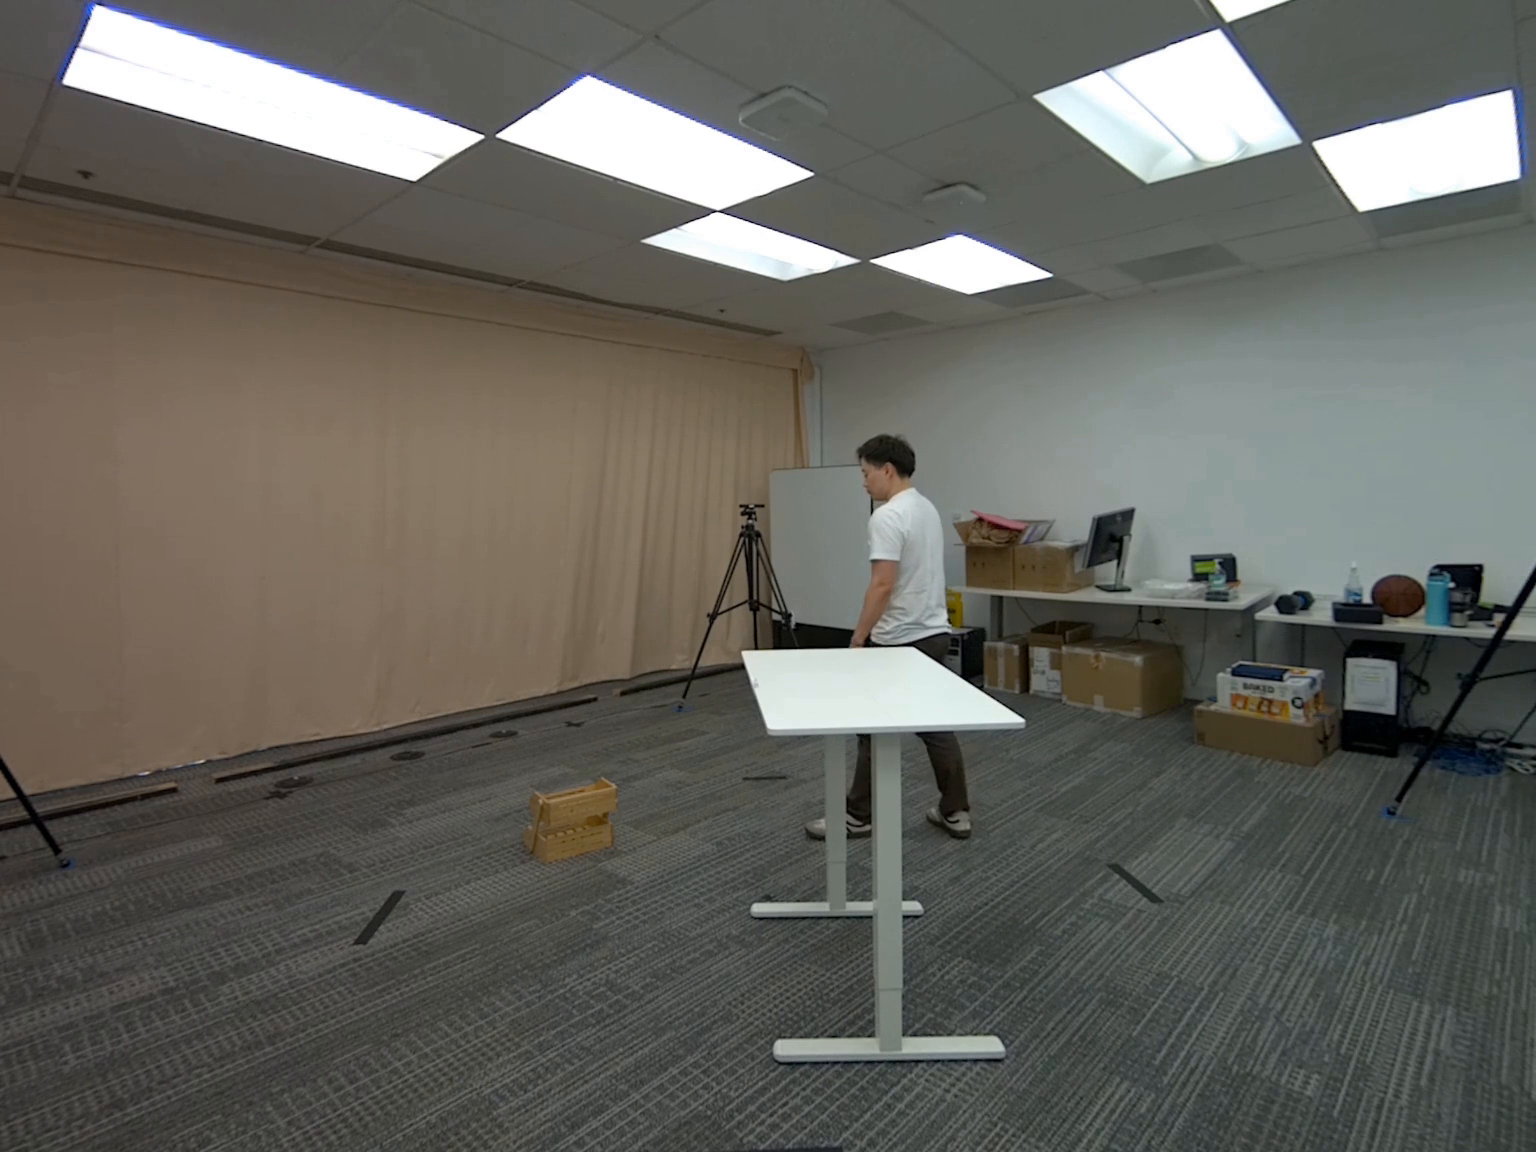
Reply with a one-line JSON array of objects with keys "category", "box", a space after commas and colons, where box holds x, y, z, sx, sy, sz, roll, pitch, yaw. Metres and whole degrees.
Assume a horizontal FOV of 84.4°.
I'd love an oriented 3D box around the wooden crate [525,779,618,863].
[{"category": "wooden crate", "box": [-0.824, 0.987, 3.474, 0.315, 0.272, 0.311, -4, 5, -34]}]
